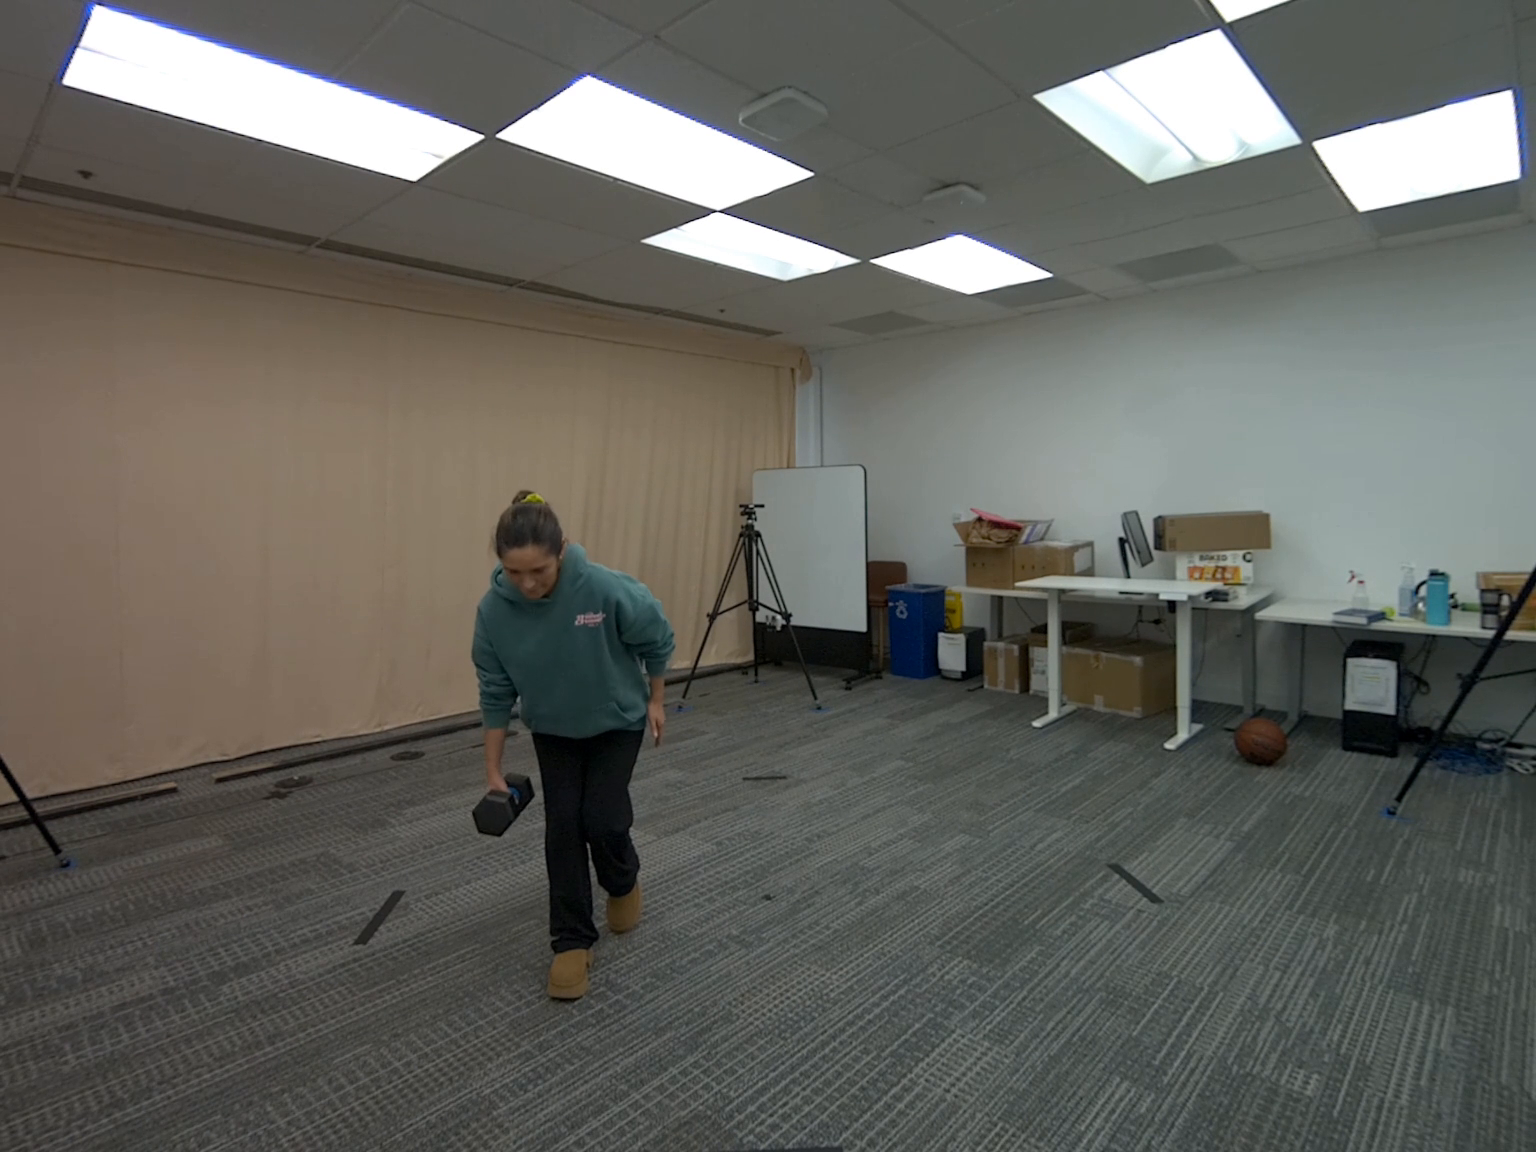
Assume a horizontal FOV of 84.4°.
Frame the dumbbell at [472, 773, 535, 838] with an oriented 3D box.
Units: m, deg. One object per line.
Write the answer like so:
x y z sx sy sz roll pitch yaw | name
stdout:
-0.755 0.663 2.420 0.108 0.123 0.294 -20 0 -3 | dumbbell
